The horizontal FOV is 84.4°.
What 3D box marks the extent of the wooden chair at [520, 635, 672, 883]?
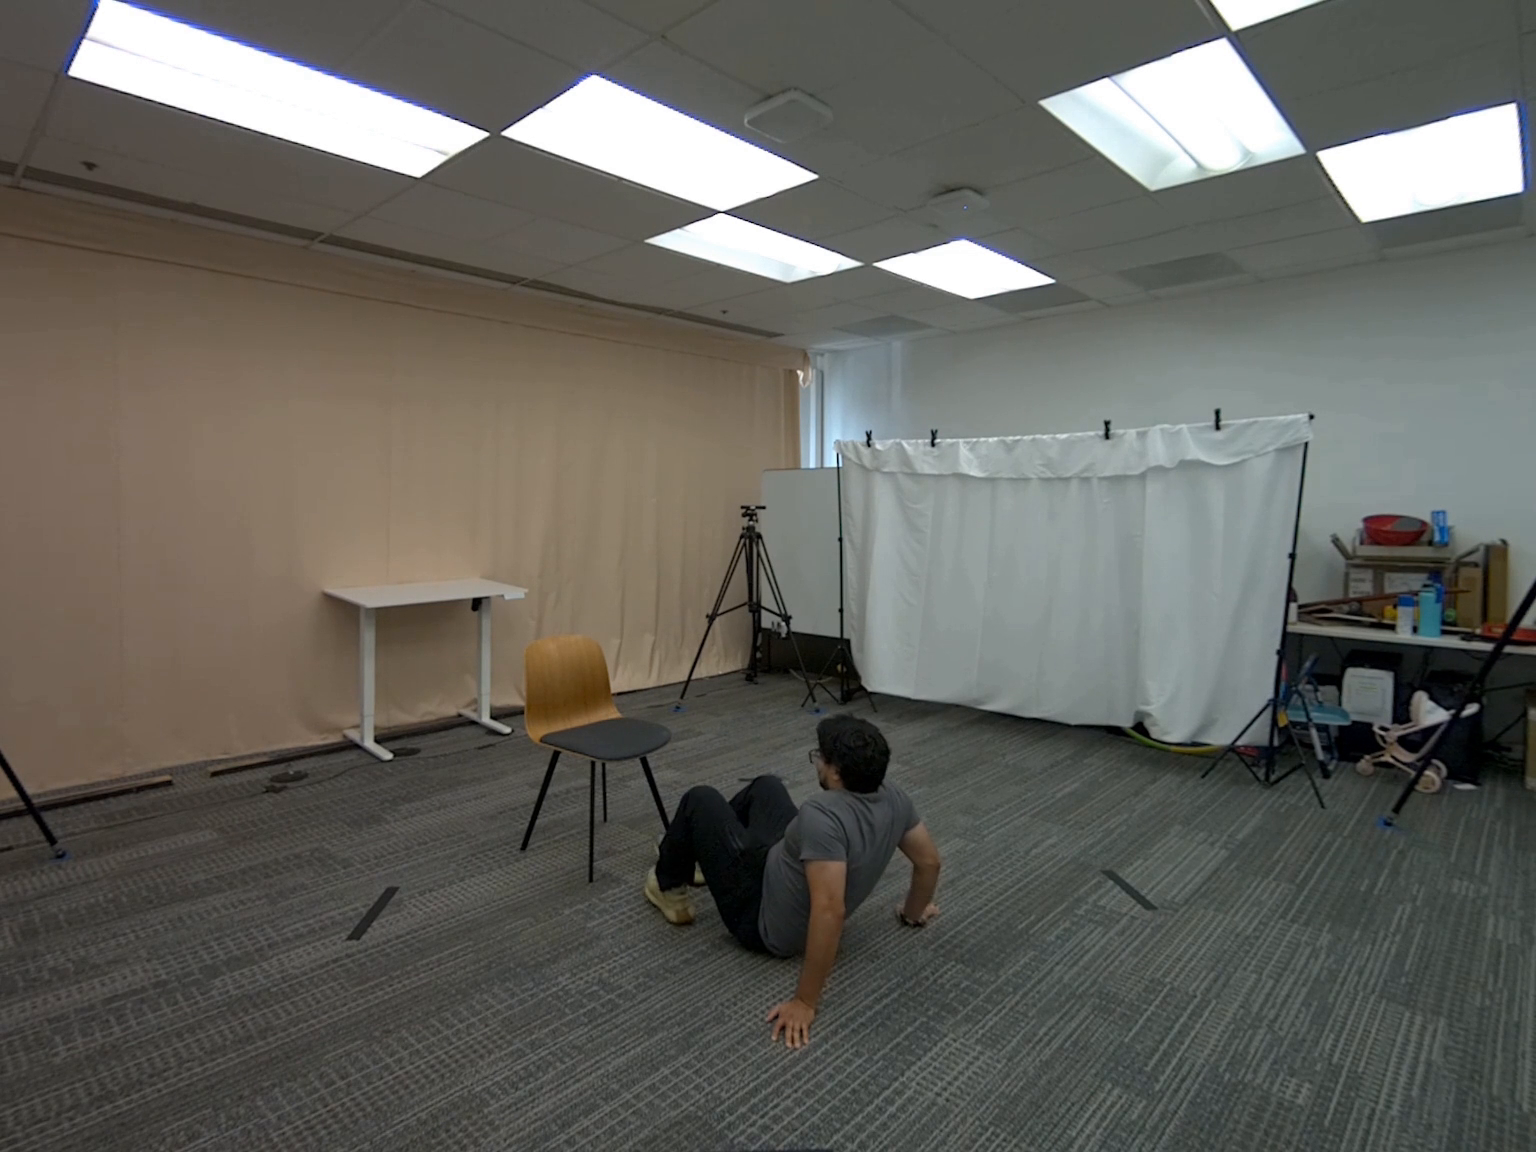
[{"bbox_3d":[-0.688,0.688,3.403,0.539,0.877,0.463,-4,0,42],"label":"wooden chair"}]
